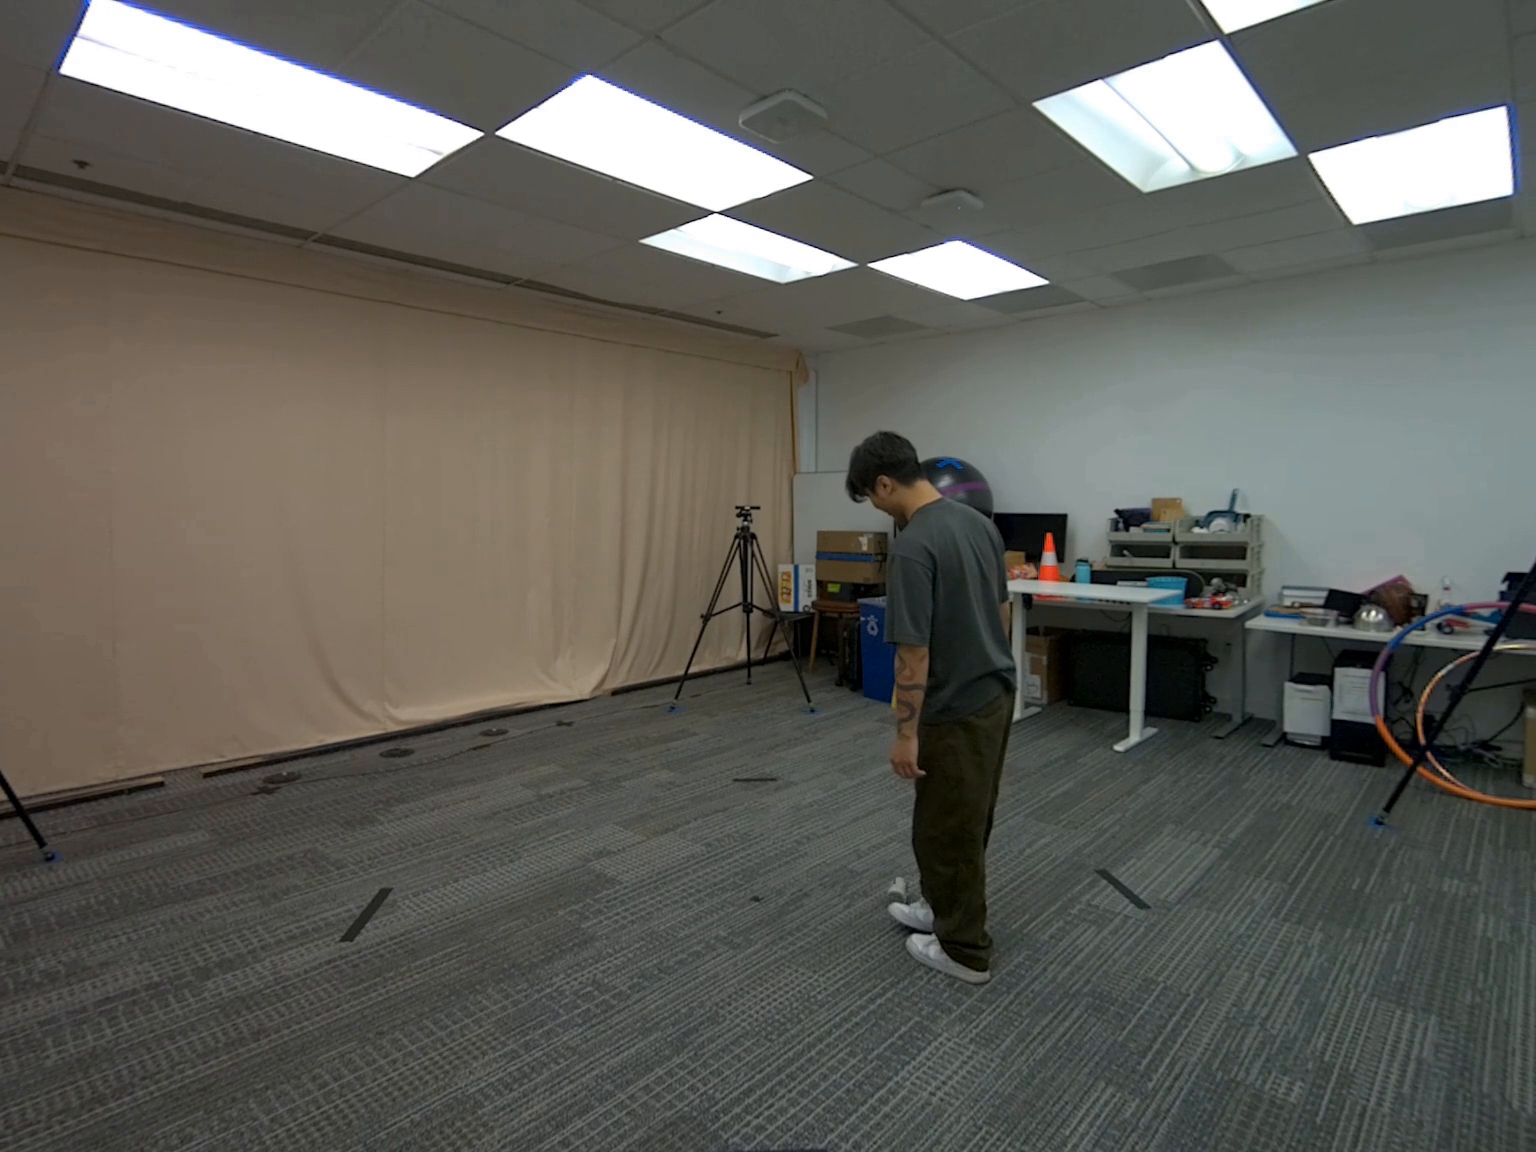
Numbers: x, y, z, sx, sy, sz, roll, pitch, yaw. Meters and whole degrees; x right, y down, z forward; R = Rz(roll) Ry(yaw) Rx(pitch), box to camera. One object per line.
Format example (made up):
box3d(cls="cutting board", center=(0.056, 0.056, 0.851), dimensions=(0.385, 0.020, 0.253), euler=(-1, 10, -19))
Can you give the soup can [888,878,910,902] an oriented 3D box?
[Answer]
box3d(cls="soup can", center=(0.468, 1.131, 2.919), dimensions=(0.068, 0.067, 0.121), euler=(0, 3, 6))
